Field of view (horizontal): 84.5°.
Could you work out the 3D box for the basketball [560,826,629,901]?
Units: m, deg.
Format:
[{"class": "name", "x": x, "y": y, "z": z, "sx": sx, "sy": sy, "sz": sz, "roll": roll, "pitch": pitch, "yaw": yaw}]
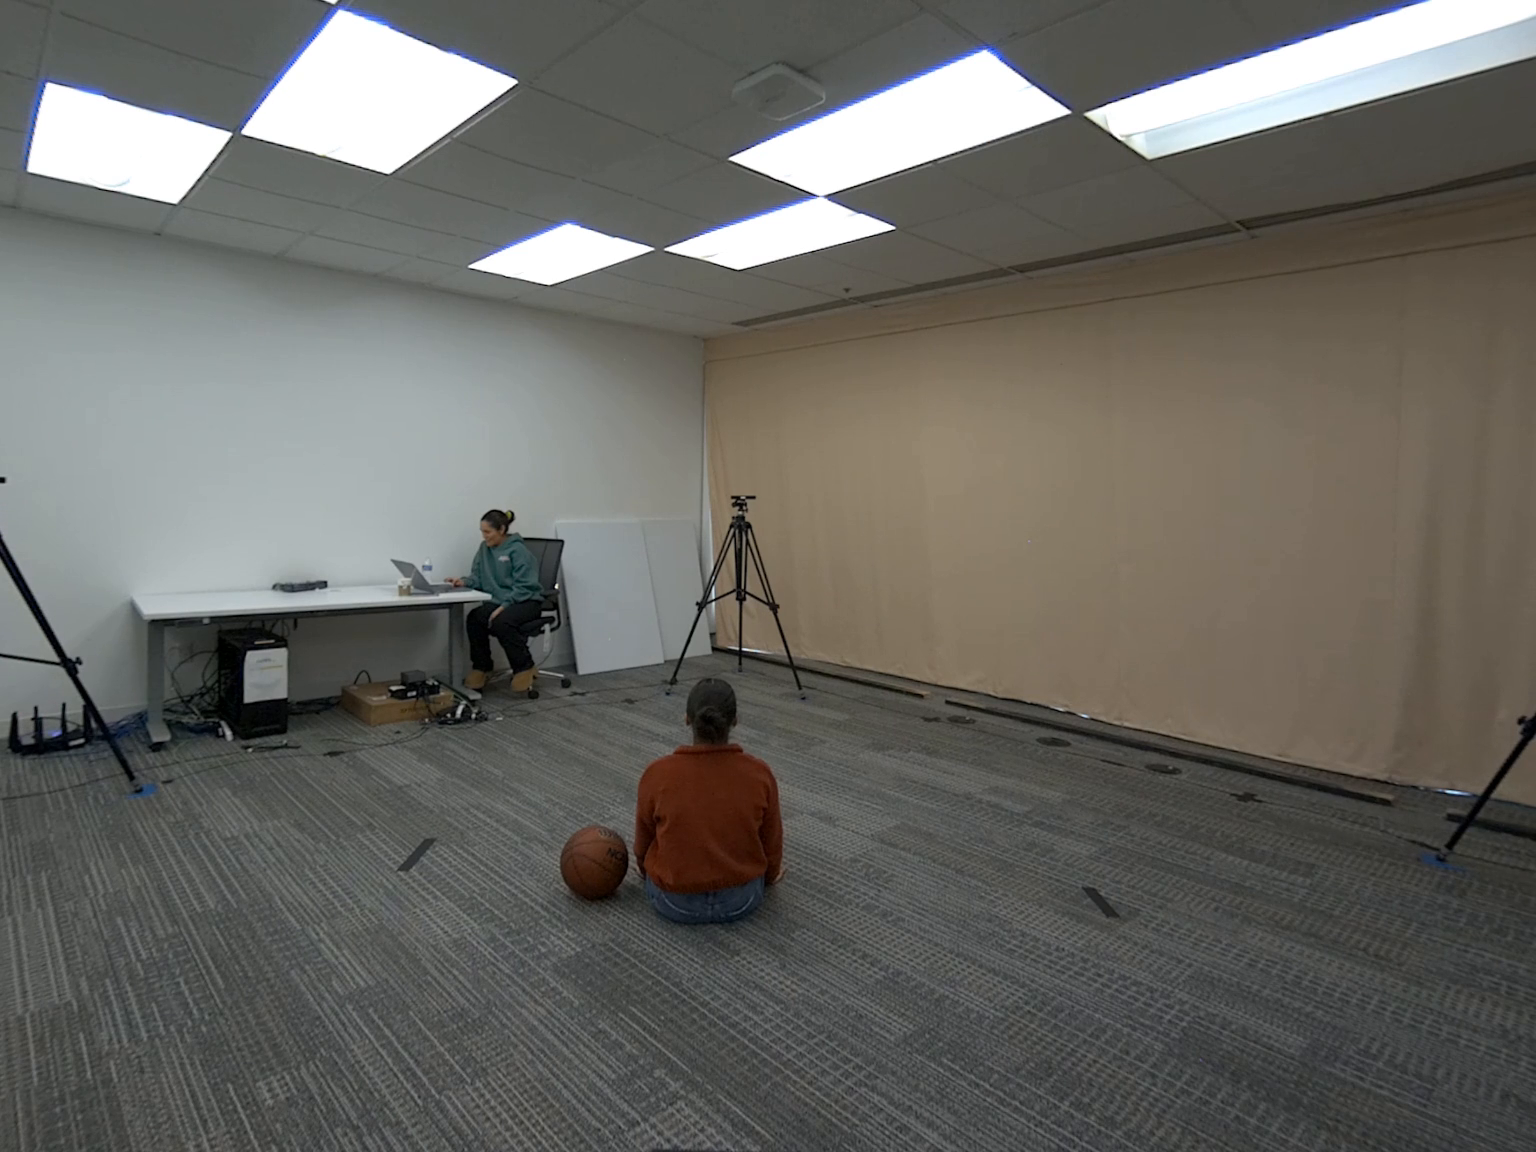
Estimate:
[{"class": "basketball", "x": -0.604, "y": 0.986, "z": 2.923, "sx": 0.236, "sy": 0.235, "sz": 0.237, "roll": 1, "pitch": 4, "yaw": -1}]
